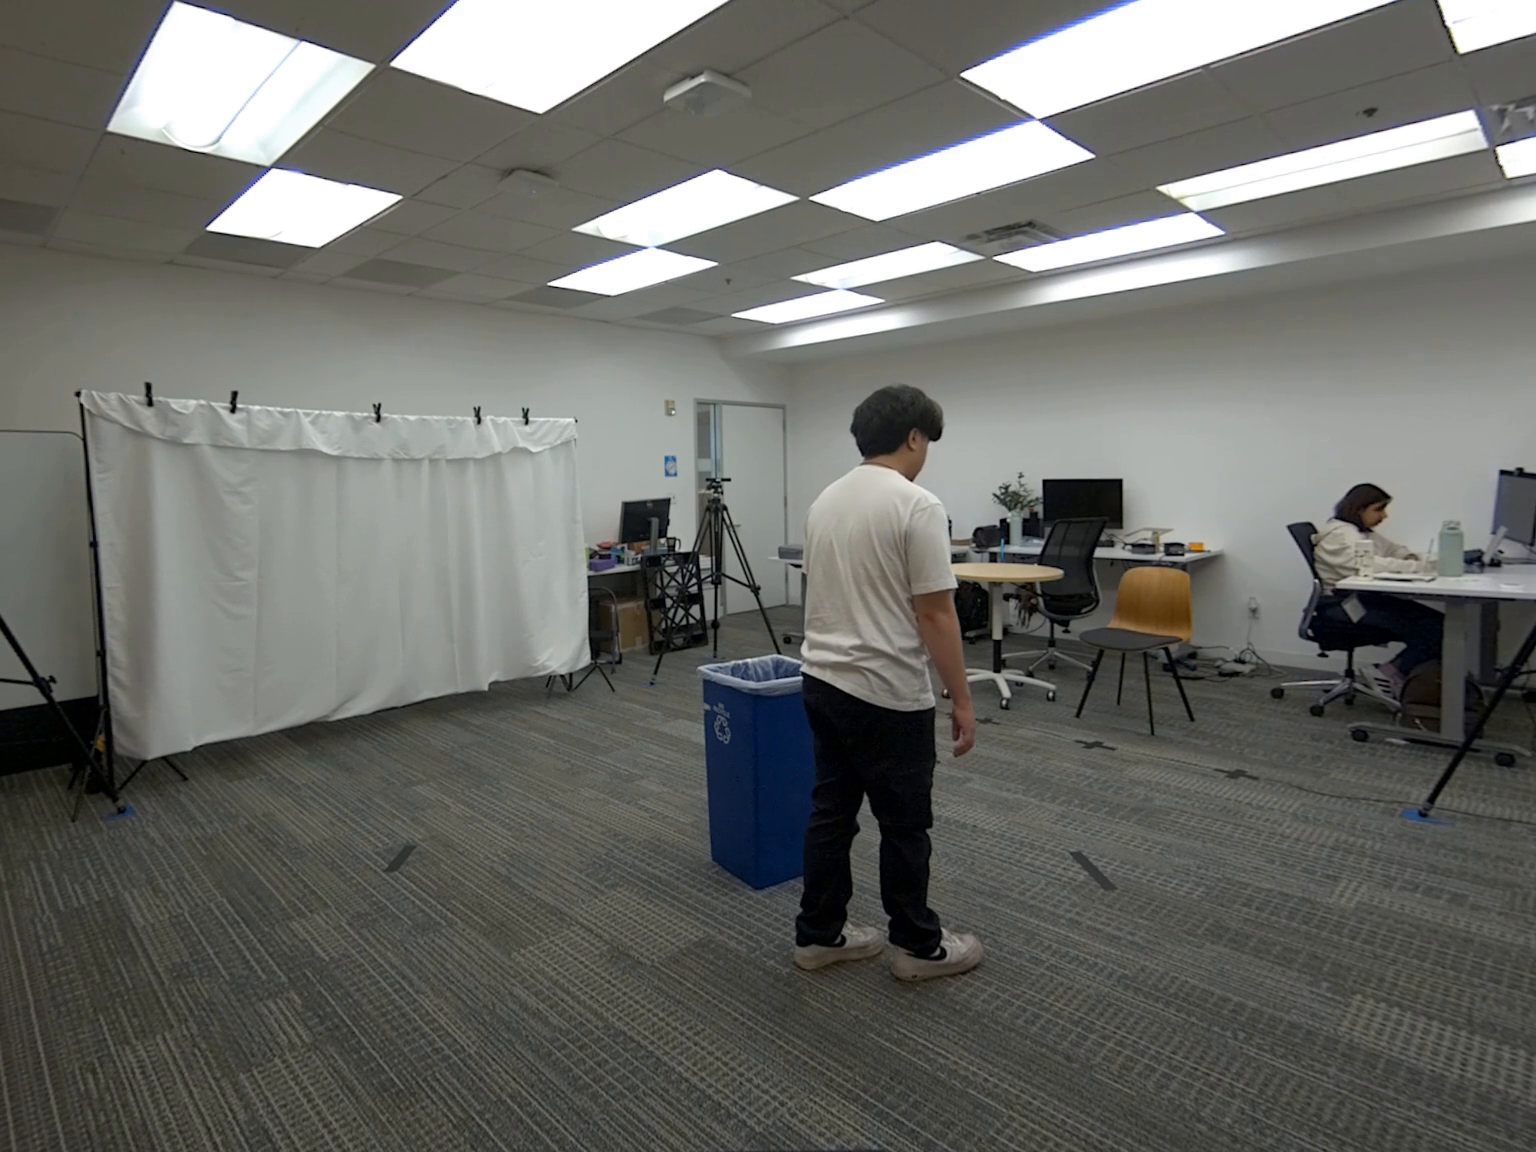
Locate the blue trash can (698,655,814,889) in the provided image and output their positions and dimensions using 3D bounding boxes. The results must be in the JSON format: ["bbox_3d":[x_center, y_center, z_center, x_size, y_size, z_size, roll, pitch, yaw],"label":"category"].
[{"bbox_3d":[-0.001,0.687,3.069,0.368,0.711,0.385,-4,5,-35],"label":"blue trash can"}]
